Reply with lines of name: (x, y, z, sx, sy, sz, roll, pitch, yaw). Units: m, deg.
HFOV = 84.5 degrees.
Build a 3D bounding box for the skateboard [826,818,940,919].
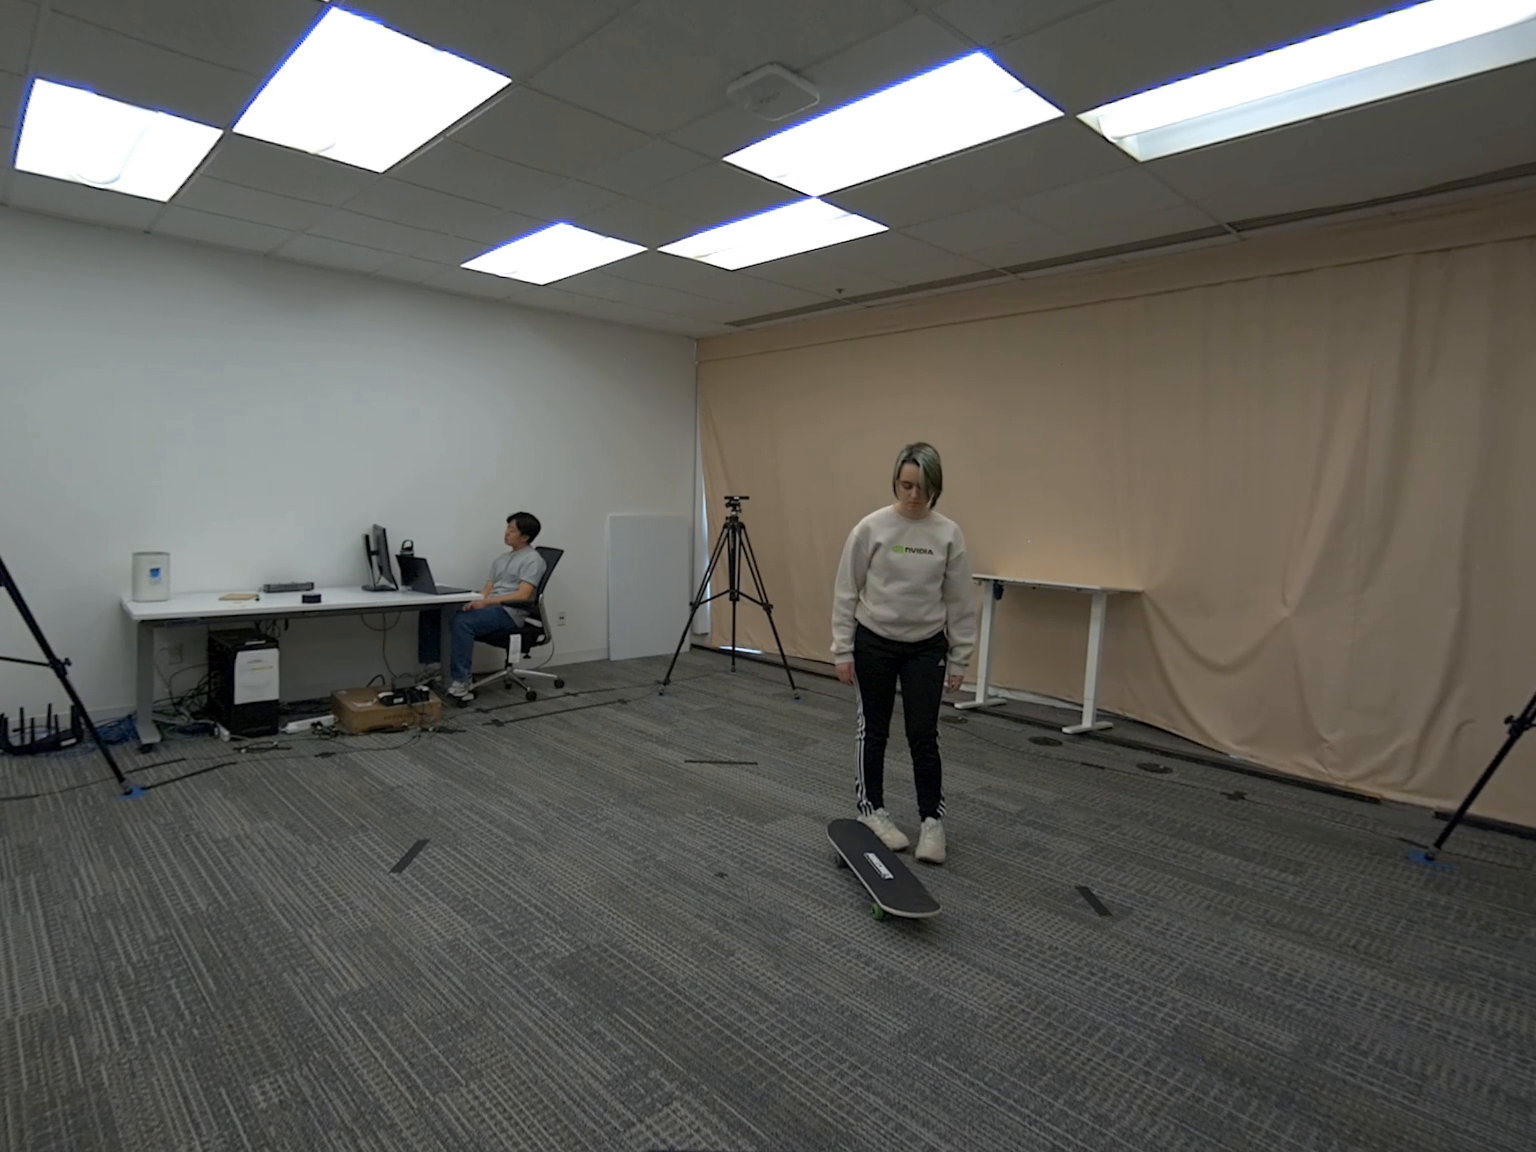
skateboard: (0.388, 1.068, 3.013, 0.191, 0.110, 0.796, 0, 6, -13)
